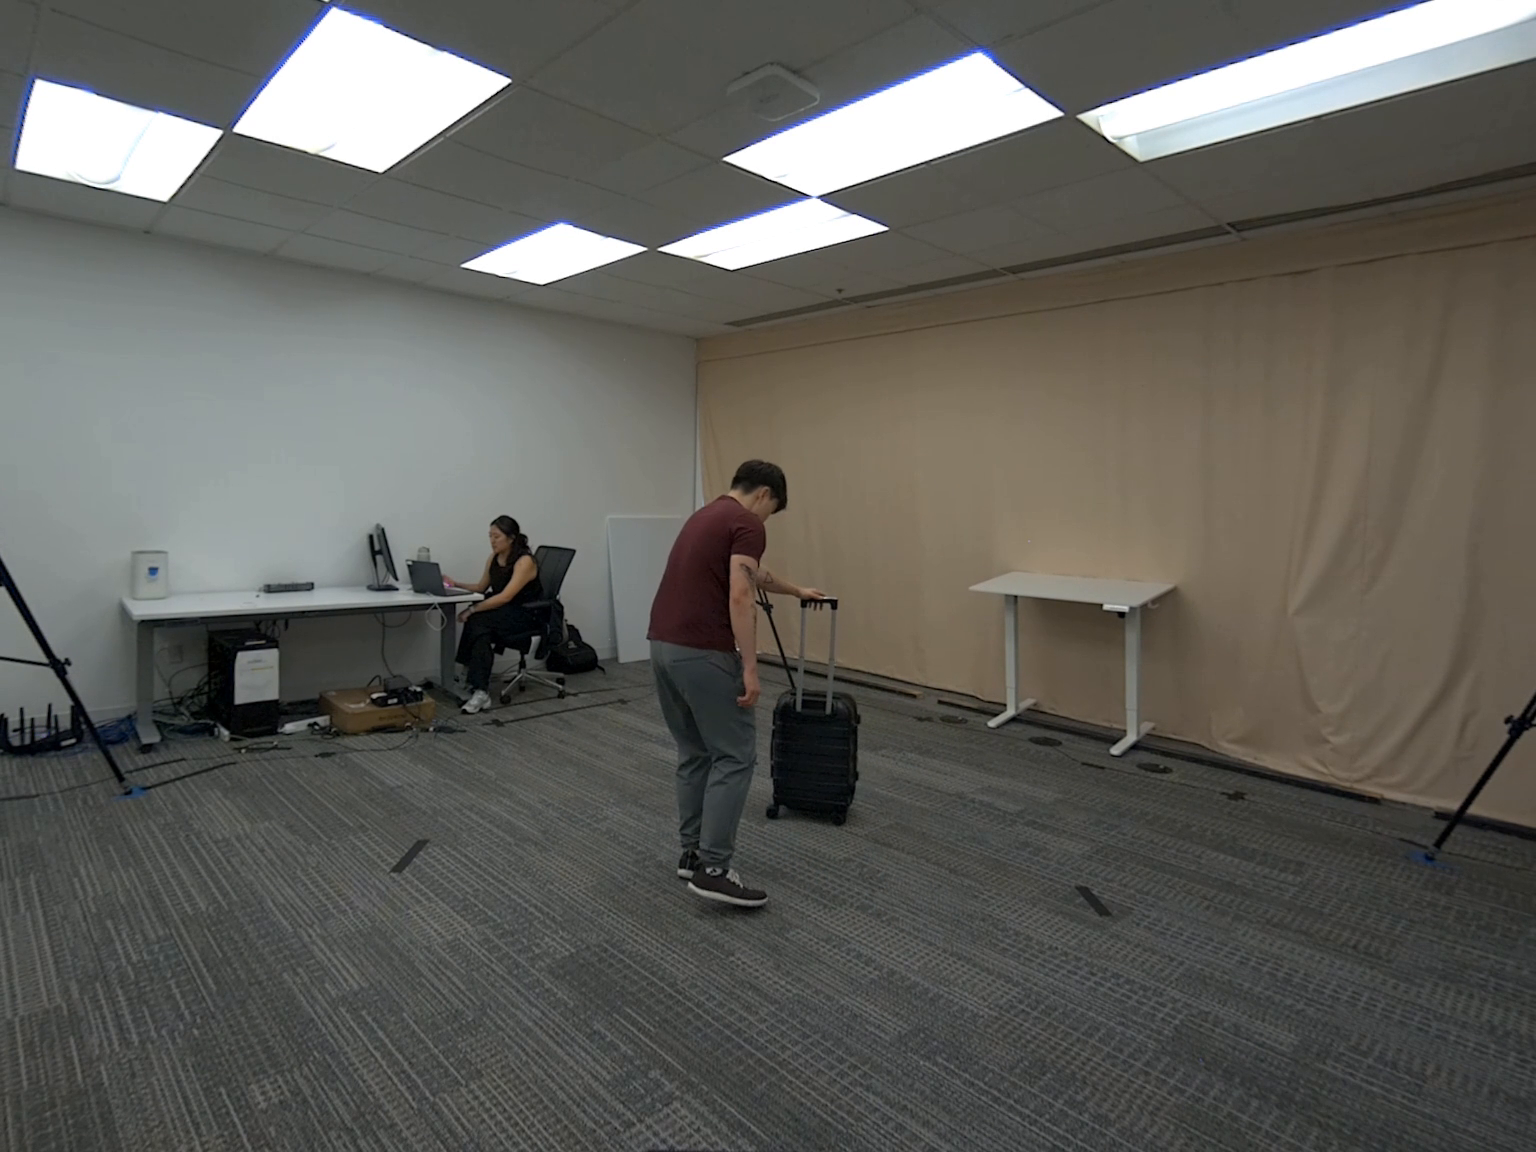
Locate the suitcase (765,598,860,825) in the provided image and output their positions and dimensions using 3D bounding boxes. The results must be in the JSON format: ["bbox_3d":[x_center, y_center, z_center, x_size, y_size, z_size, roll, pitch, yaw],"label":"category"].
[{"bbox_3d":[0.206,0.580,3.721,0.388,0.977,0.254,4,2,12],"label":"suitcase"}]
